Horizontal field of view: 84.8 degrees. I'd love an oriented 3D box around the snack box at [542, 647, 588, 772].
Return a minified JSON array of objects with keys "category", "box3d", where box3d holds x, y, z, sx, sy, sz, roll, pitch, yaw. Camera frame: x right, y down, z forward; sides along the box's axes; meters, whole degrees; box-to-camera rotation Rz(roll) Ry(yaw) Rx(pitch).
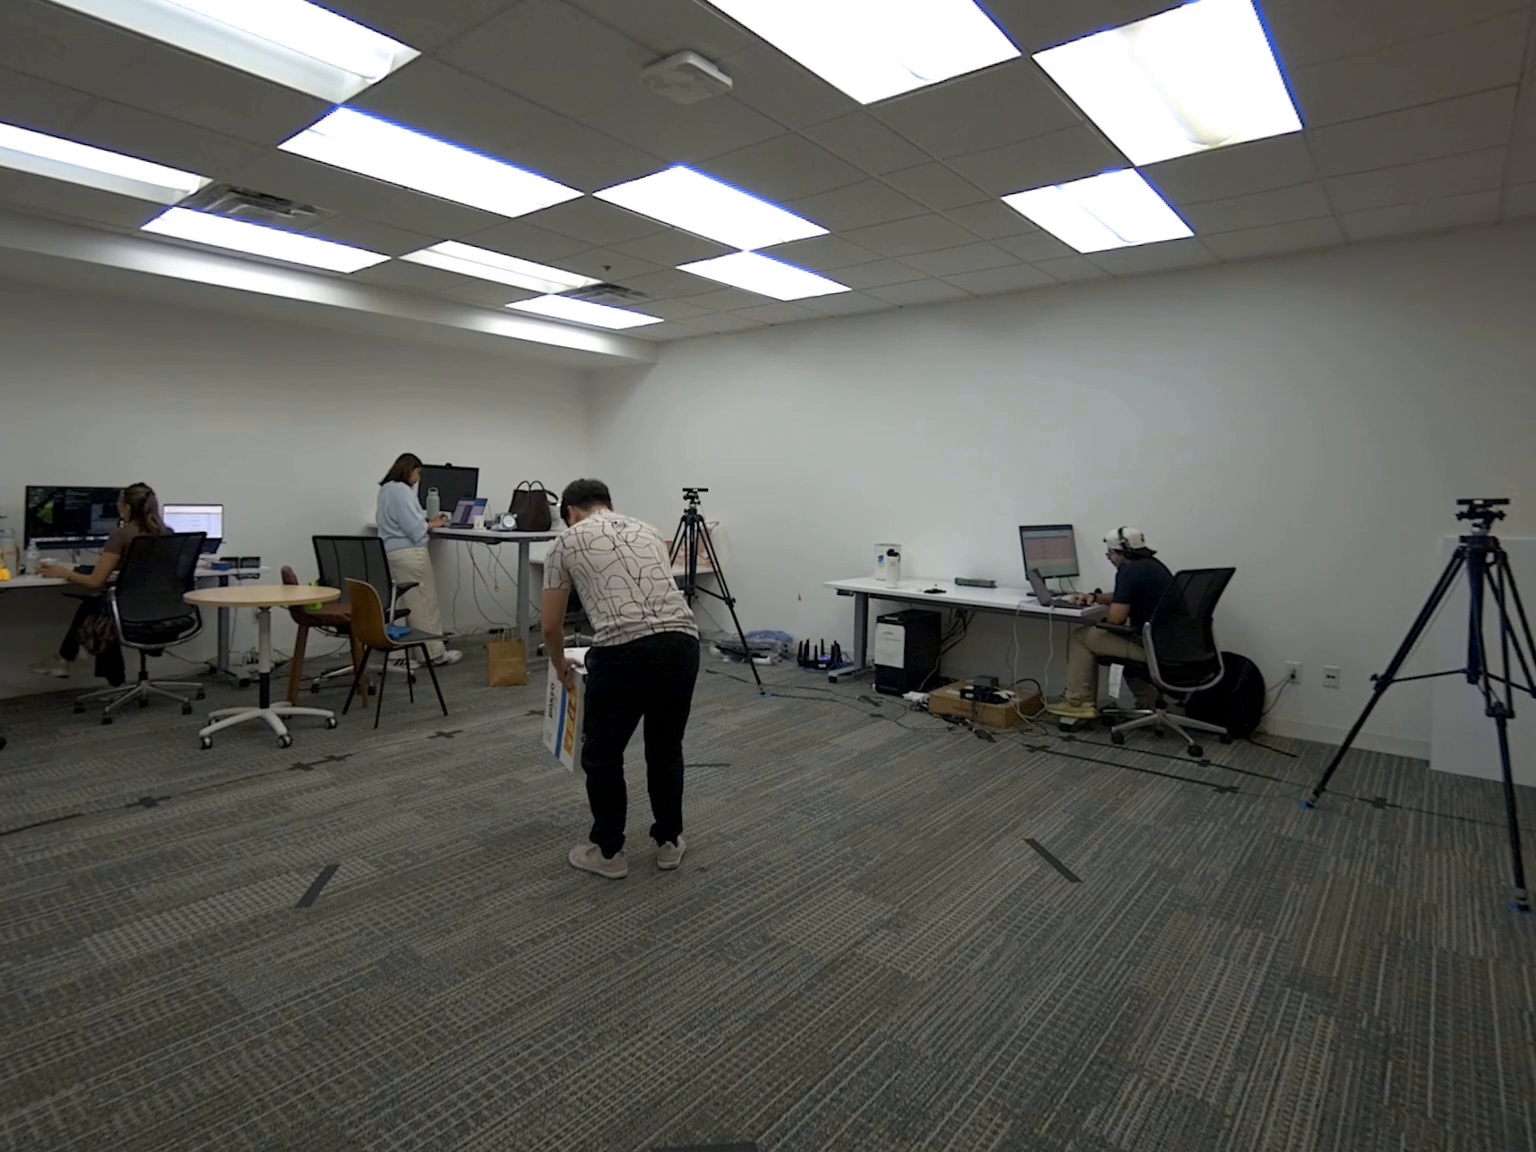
[{"category":"snack box","box3d":[-0.765,0.541,3.474,0.199,0.403,0.353,2,9,-34]}]
